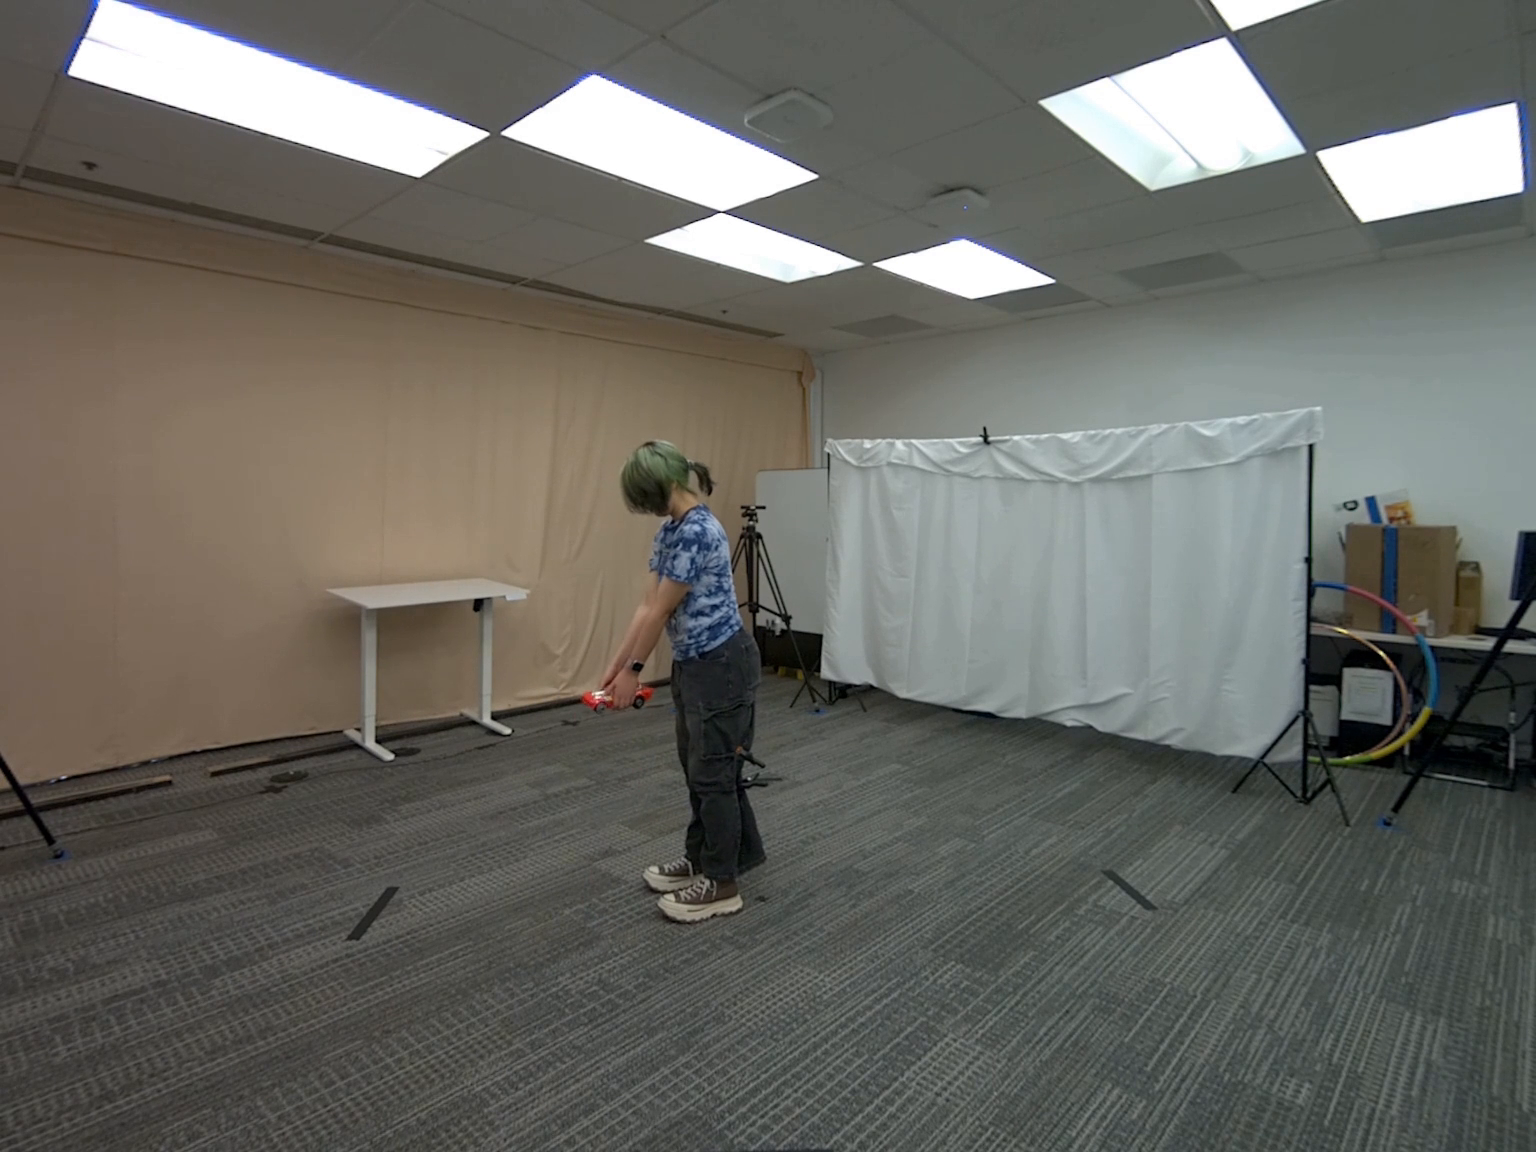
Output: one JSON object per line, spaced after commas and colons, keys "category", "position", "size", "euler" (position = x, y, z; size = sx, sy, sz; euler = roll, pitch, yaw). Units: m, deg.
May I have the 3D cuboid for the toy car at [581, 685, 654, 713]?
{"category": "toy car", "position": [-0.519, 0.432, 2.939], "size": [0.248, 0.082, 0.135], "euler": [-16, 18, -34]}
